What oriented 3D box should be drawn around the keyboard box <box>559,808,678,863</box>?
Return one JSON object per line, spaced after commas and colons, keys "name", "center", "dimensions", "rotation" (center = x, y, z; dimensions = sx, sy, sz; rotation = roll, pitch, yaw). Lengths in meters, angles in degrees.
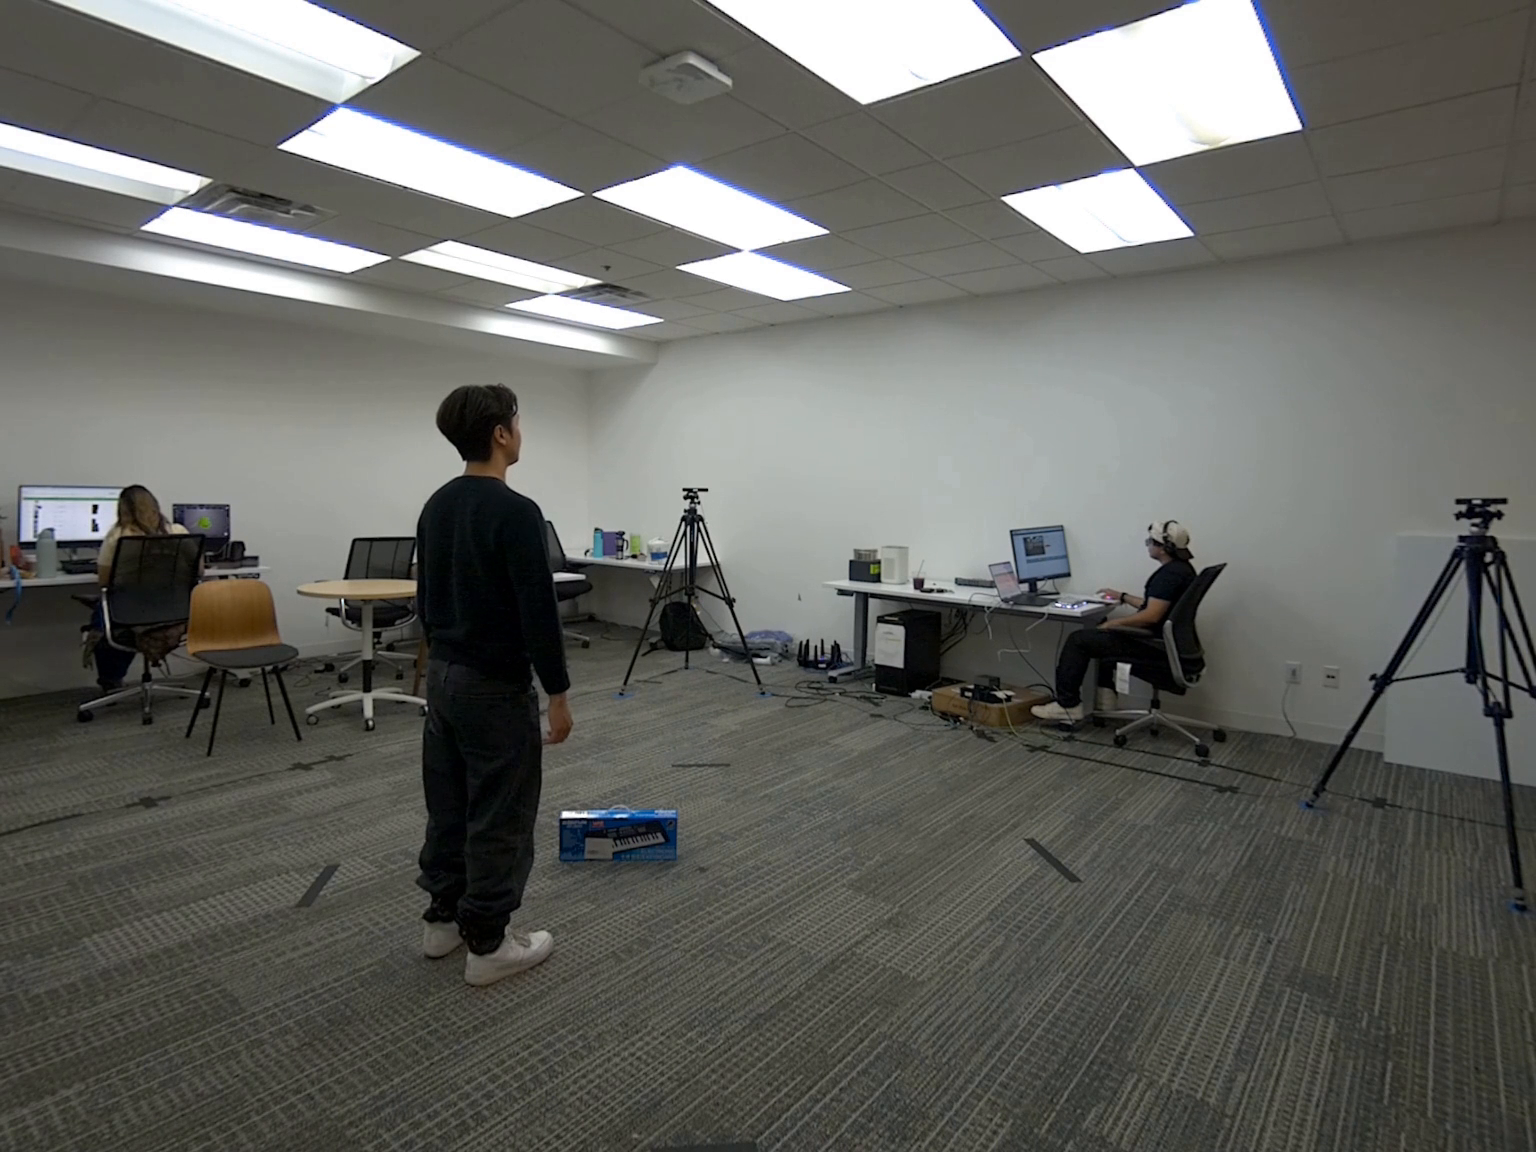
{"name": "keyboard box", "center": [-0.570, 0.968, 3.182], "dimensions": [0.435, 0.174, 0.060], "rotation": [1, 9, -4]}
